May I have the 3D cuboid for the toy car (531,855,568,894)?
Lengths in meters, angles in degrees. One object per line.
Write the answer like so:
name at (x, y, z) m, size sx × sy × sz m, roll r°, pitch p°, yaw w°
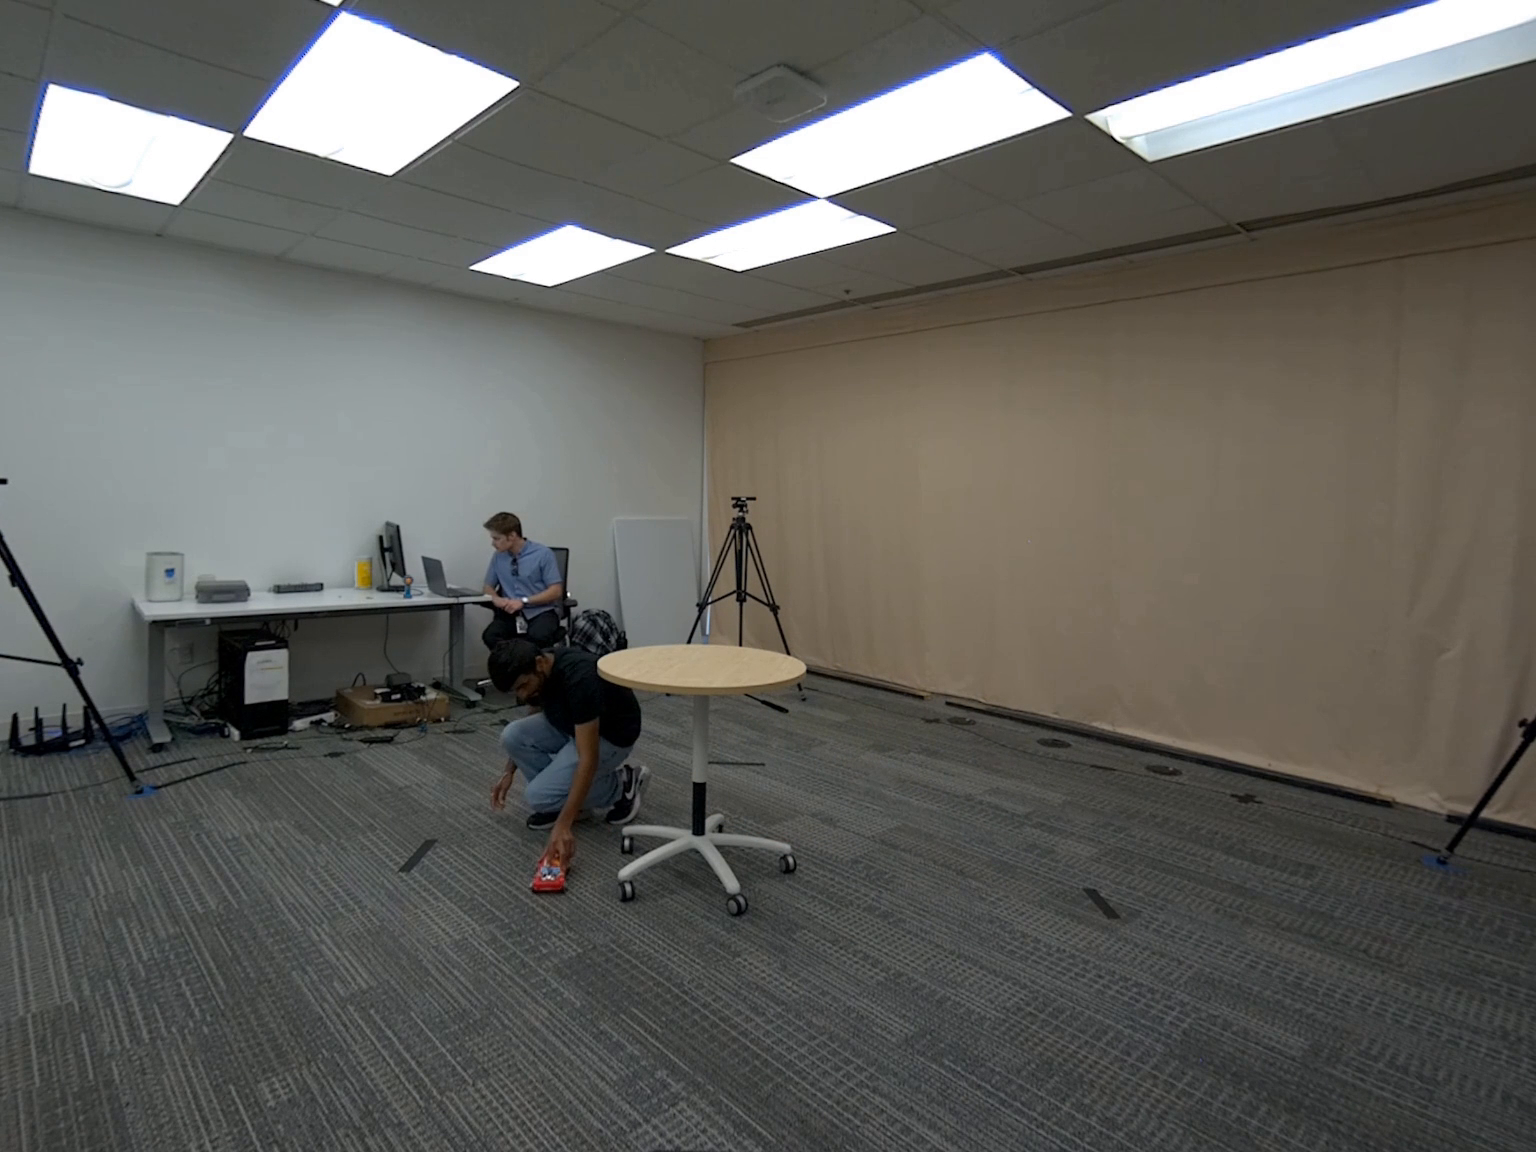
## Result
toy car at (-0.786, 1.057, 3.051) m, size 0.130 × 0.082 × 0.258 m, roll 1°, pitch 17°, yaw -5°
